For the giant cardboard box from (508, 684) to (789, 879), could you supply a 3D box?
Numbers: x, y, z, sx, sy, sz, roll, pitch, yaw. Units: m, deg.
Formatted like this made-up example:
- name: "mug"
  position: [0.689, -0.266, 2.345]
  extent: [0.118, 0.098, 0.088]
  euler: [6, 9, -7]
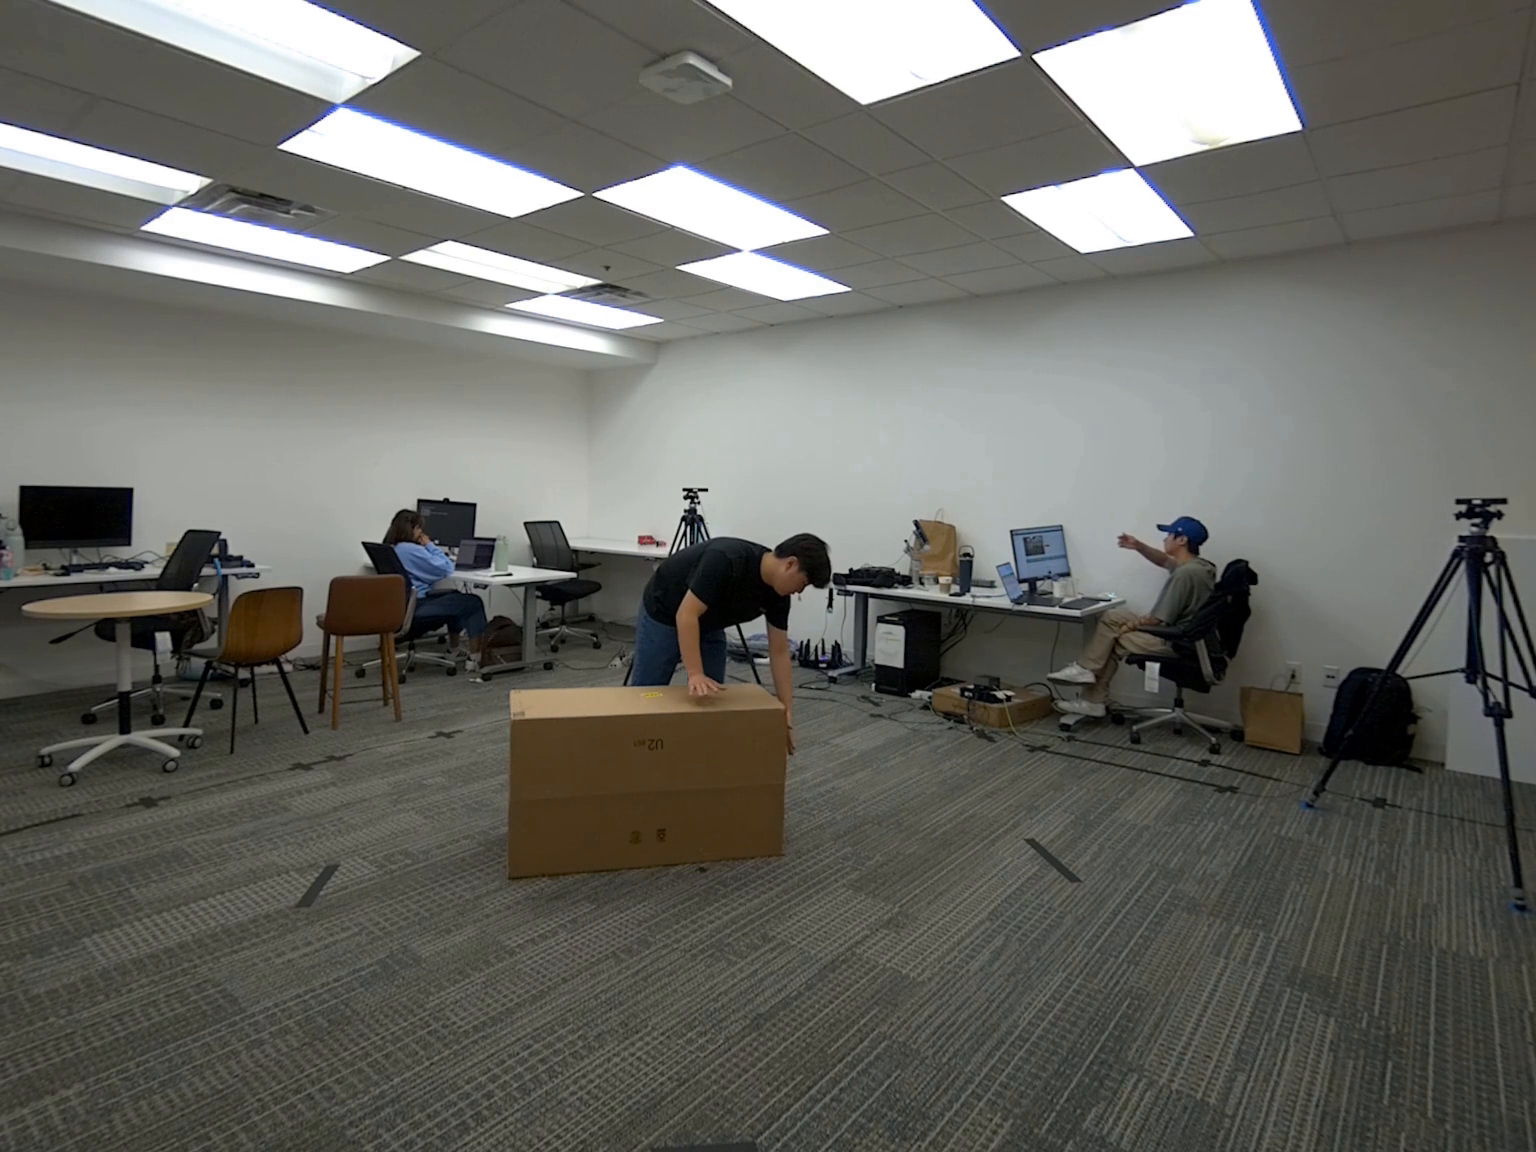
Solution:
- name: "giant cardboard box"
  position: [-0.493, 0.756, 3.305]
  extent: [1.011, 0.583, 0.455]
  euler: [0, 3, -15]
